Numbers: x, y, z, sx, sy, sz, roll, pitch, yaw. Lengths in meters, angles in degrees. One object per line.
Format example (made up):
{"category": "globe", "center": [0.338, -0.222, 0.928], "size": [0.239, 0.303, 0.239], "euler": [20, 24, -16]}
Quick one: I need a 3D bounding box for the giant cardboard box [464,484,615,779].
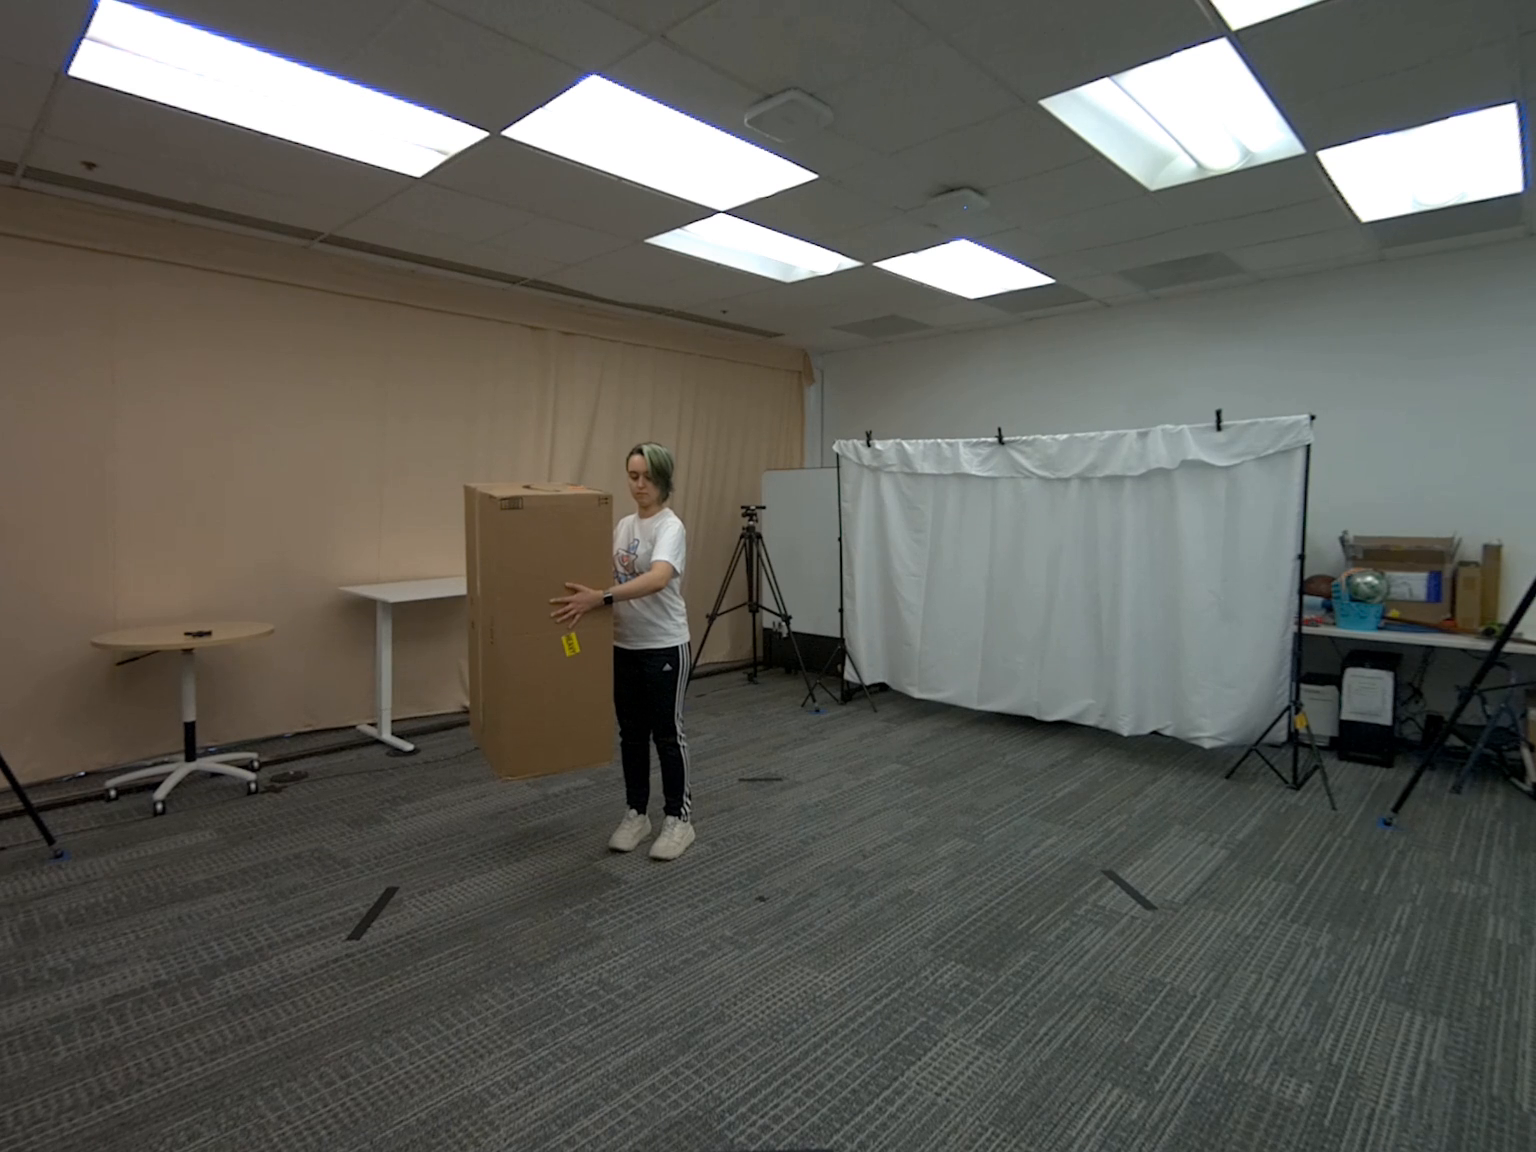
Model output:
{"category": "giant cardboard box", "center": [-0.895, 0.174, 3.255], "size": [0.415, 1.021, 0.595], "euler": [-3, 9, -30]}
